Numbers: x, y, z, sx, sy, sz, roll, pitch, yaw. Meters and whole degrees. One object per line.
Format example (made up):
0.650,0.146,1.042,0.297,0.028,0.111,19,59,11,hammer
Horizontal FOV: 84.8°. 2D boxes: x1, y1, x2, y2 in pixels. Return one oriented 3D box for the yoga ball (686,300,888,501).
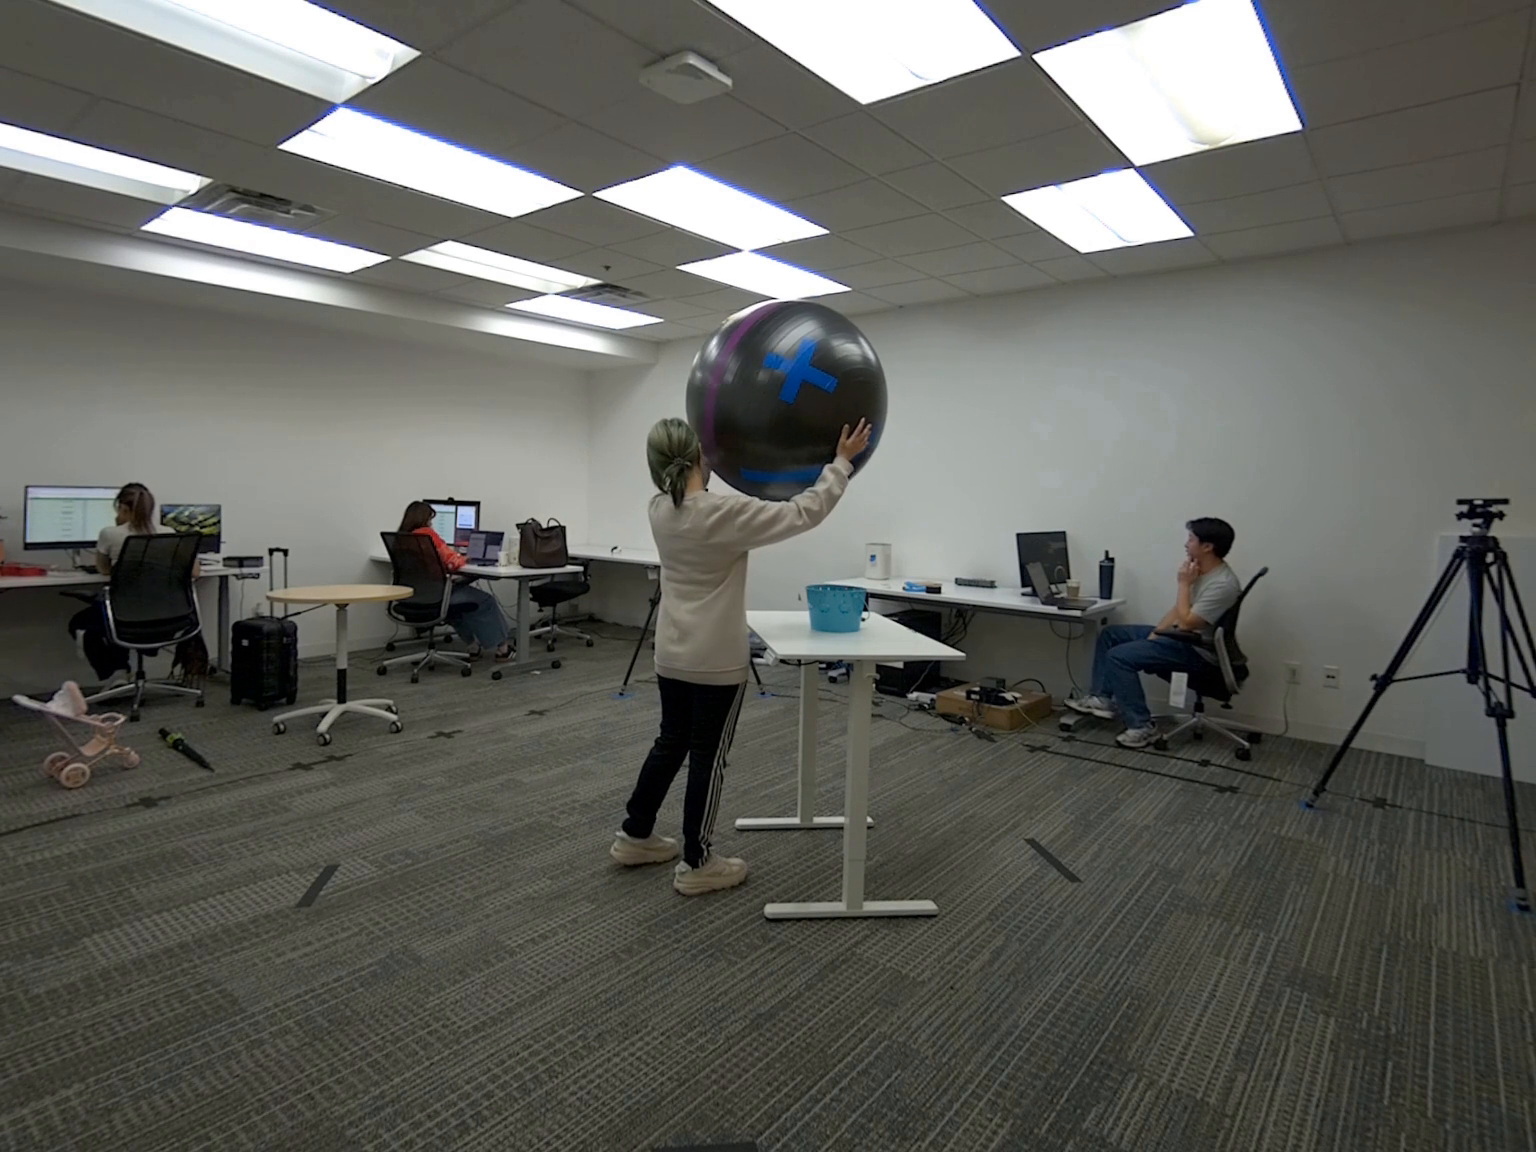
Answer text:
0.057,-0.649,3.209,0.757,0.755,0.762,1,4,-2,yoga ball
